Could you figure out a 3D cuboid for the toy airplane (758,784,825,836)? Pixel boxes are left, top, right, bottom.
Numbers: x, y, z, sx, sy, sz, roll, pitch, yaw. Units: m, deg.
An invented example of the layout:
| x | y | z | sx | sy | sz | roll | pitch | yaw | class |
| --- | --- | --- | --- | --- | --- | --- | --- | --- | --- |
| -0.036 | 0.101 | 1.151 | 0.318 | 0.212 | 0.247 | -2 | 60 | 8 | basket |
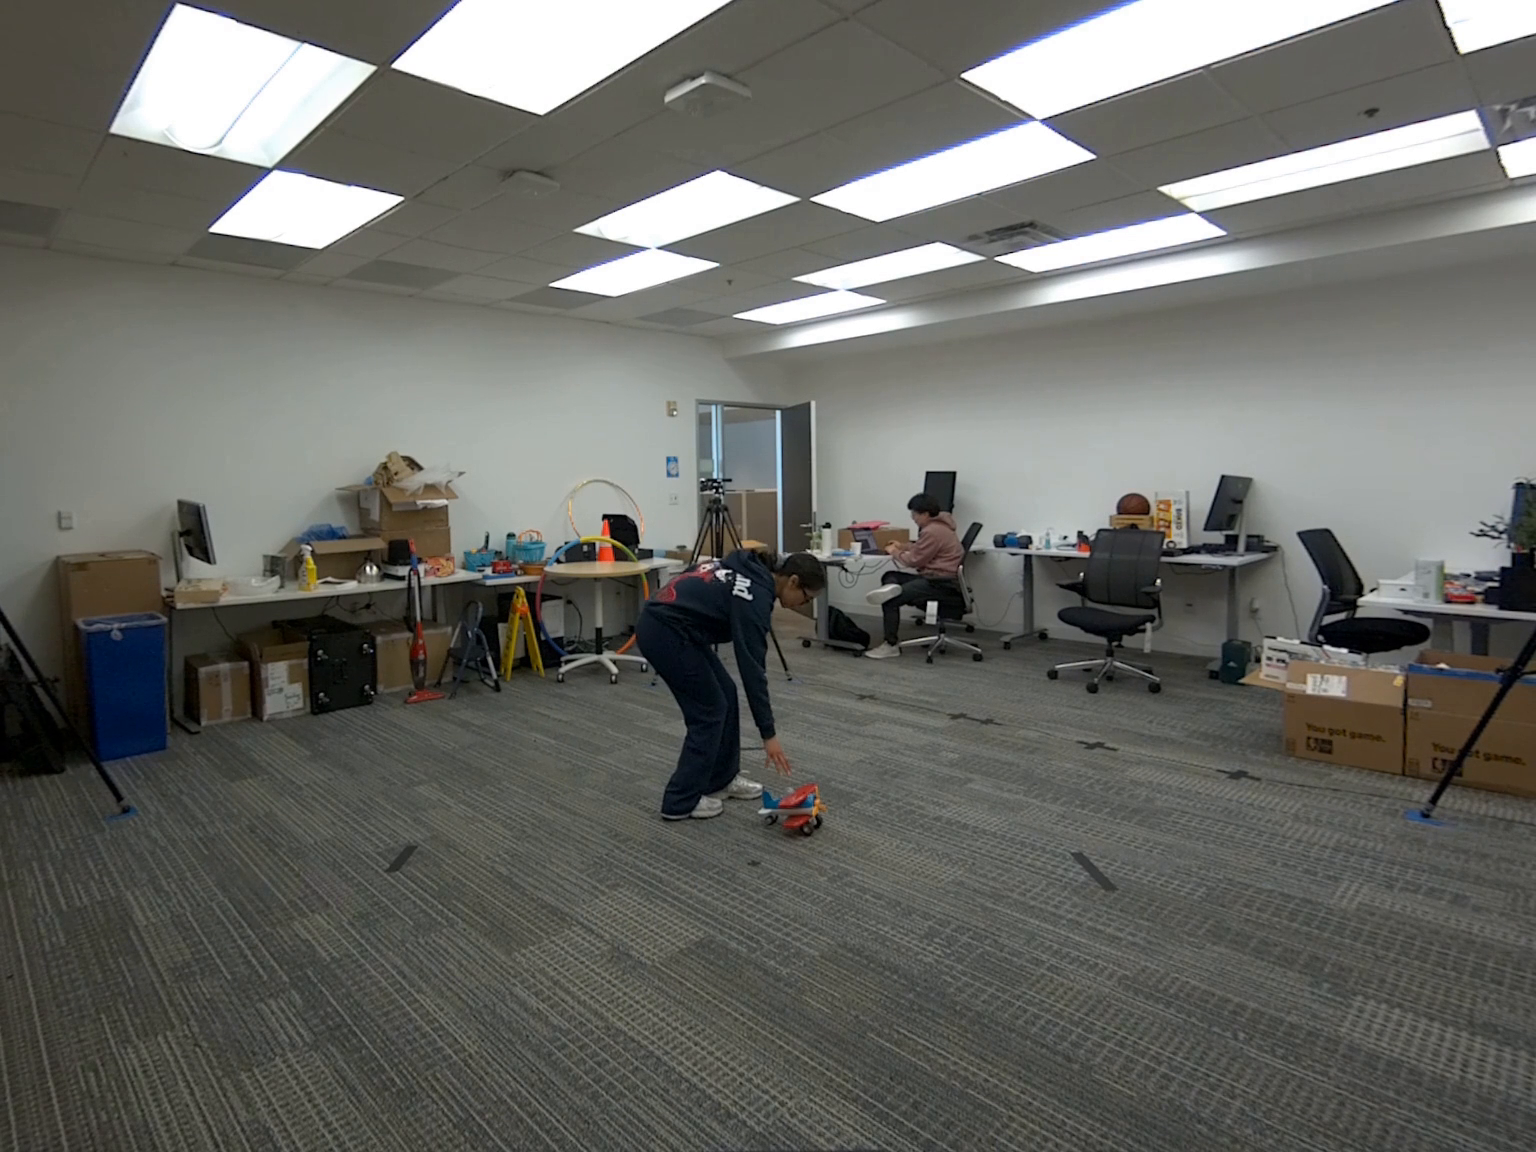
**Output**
| x | y | z | sx | sy | sz | roll | pitch | yaw | class |
| --- | --- | --- | --- | --- | --- | --- | --- | --- | --- |
| 0.095 | 0.935 | 3.400 | 0.259 | 0.156 | 0.252 | -1 | 4 | -1 | toy airplane |
